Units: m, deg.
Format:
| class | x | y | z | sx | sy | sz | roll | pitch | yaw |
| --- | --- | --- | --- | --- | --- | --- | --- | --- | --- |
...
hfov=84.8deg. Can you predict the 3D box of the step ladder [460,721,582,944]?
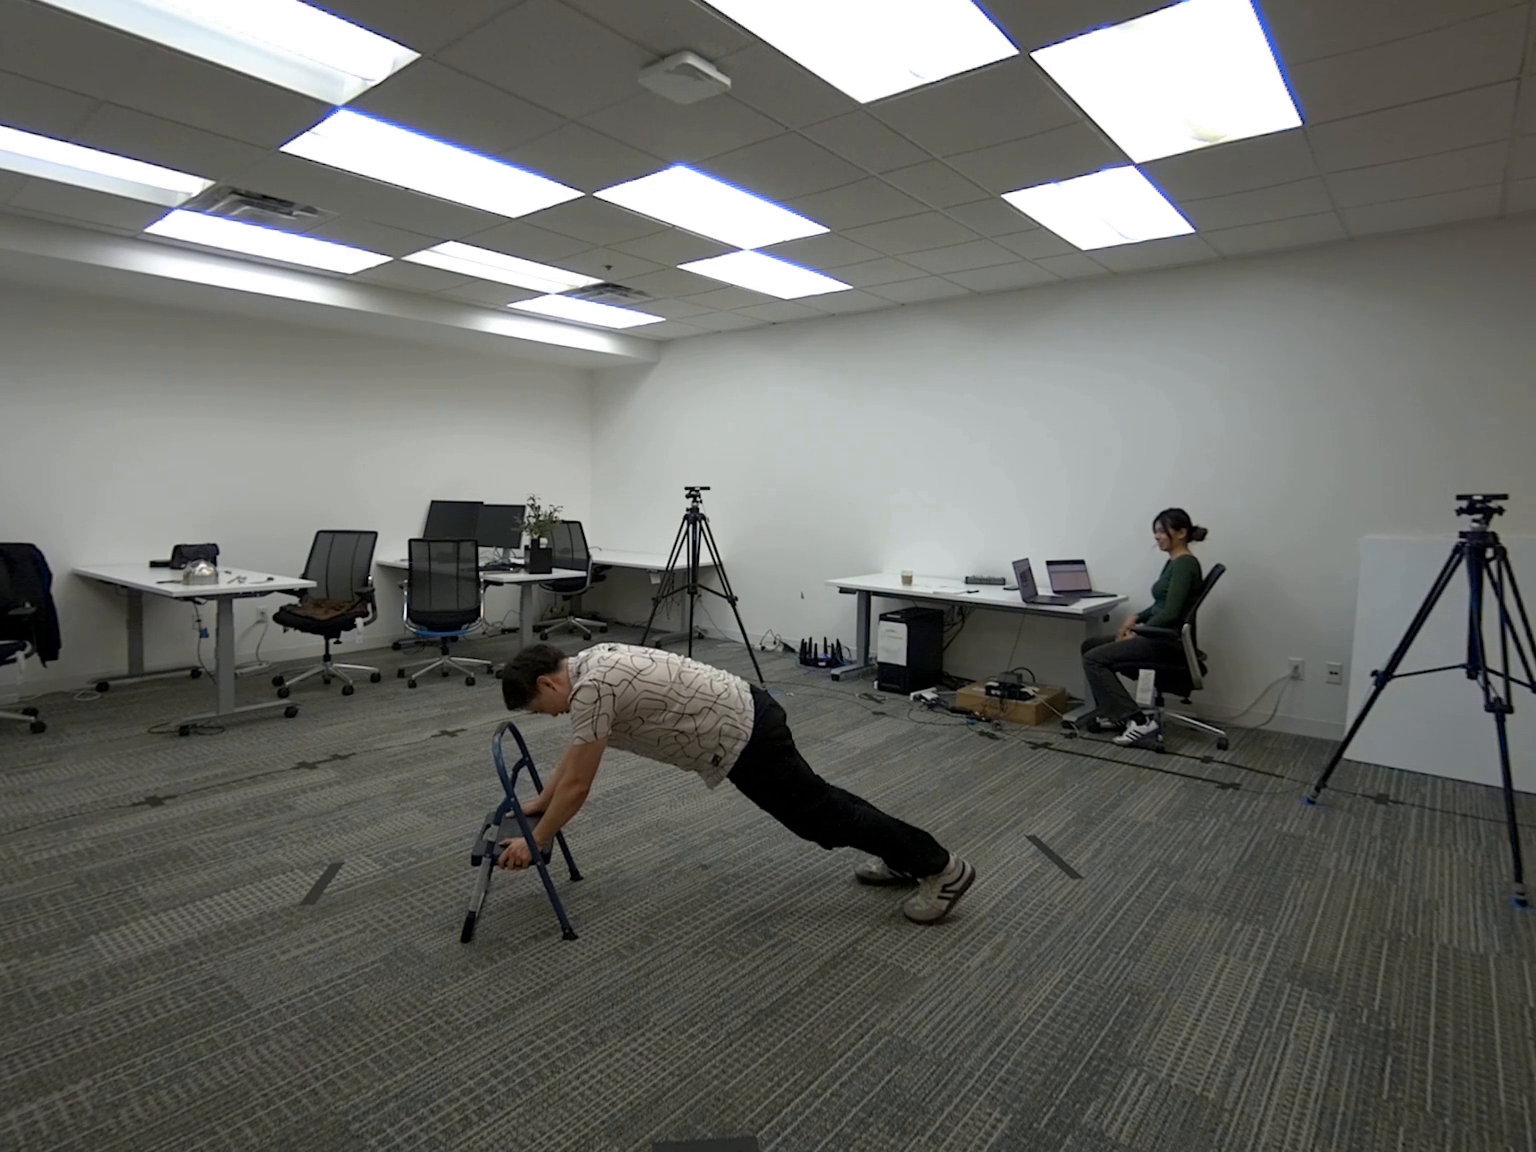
| class | x | y | z | sx | sy | sz | roll | pitch | yaw |
| --- | --- | --- | --- | --- | --- | --- | --- | --- | --- |
| step ladder | -0.806 | 0.791 | 2.778 | 0.346 | 0.604 | 0.436 | 0 | 4 | -9 |
